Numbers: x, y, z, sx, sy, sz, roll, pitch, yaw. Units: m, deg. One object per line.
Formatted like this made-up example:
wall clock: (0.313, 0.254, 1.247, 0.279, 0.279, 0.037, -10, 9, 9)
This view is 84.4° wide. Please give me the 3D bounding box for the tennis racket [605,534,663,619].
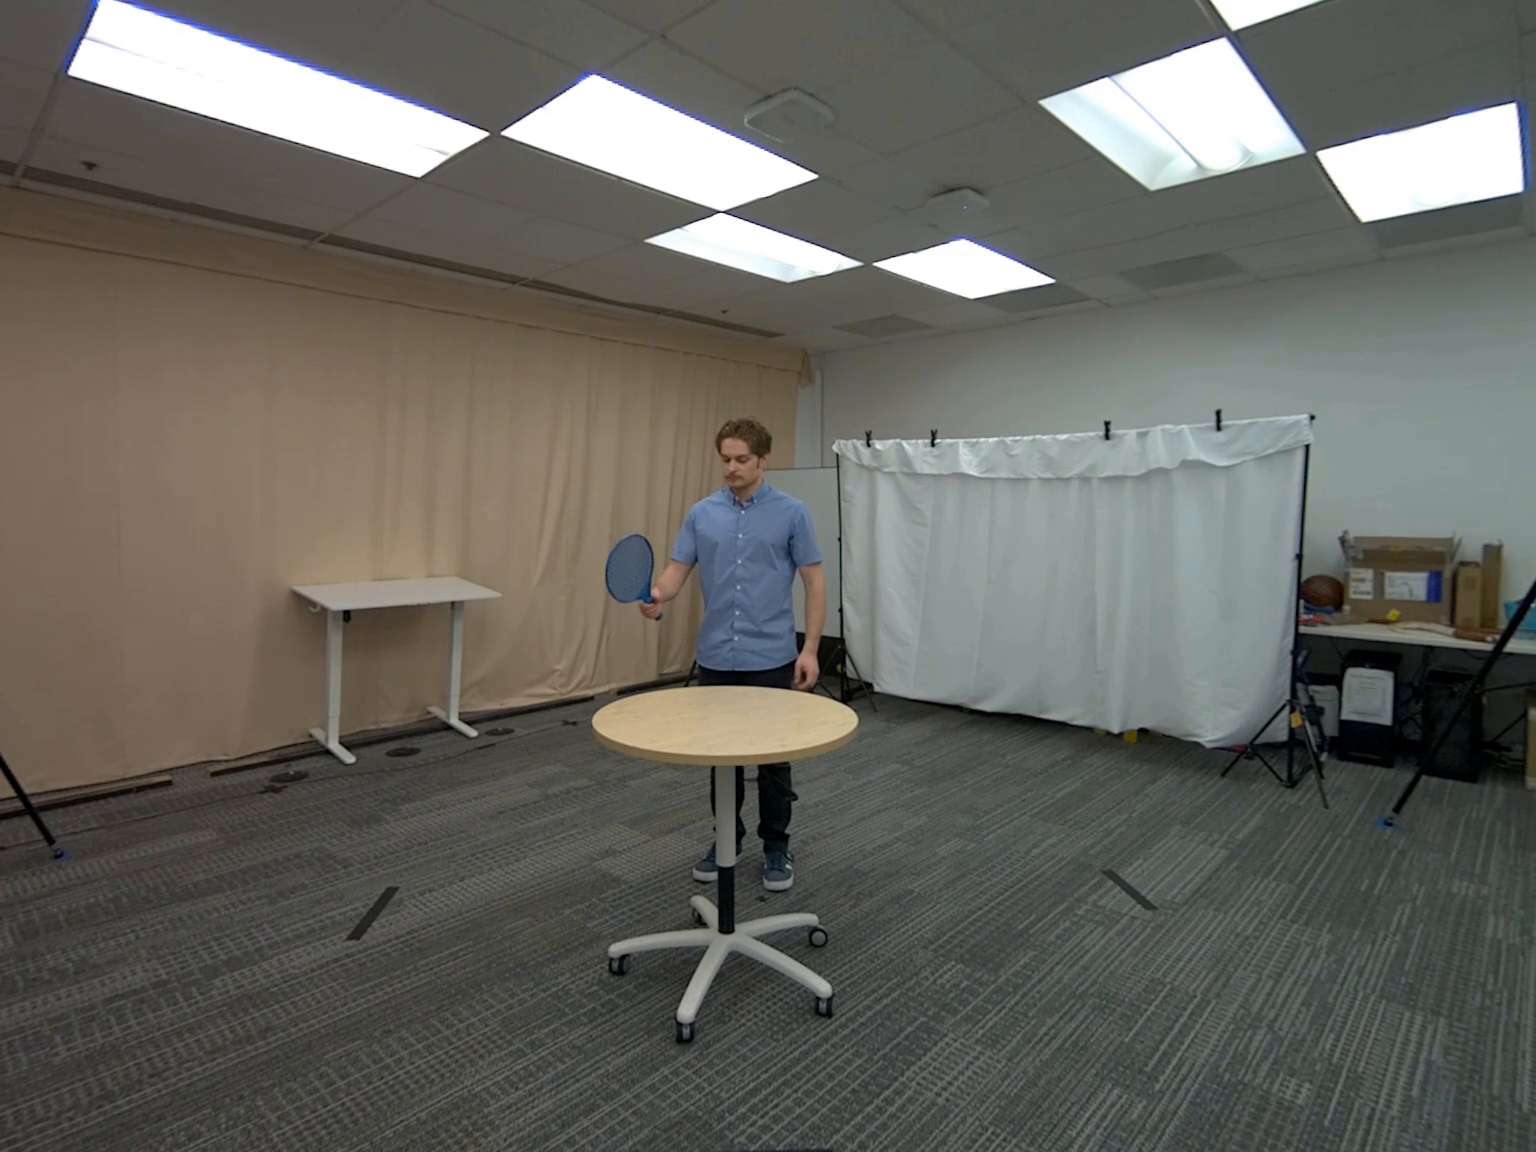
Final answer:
tennis racket: (-0.428, 0.030, 2.747, 0.033, 0.213, 0.421, 20, -29, 26)
